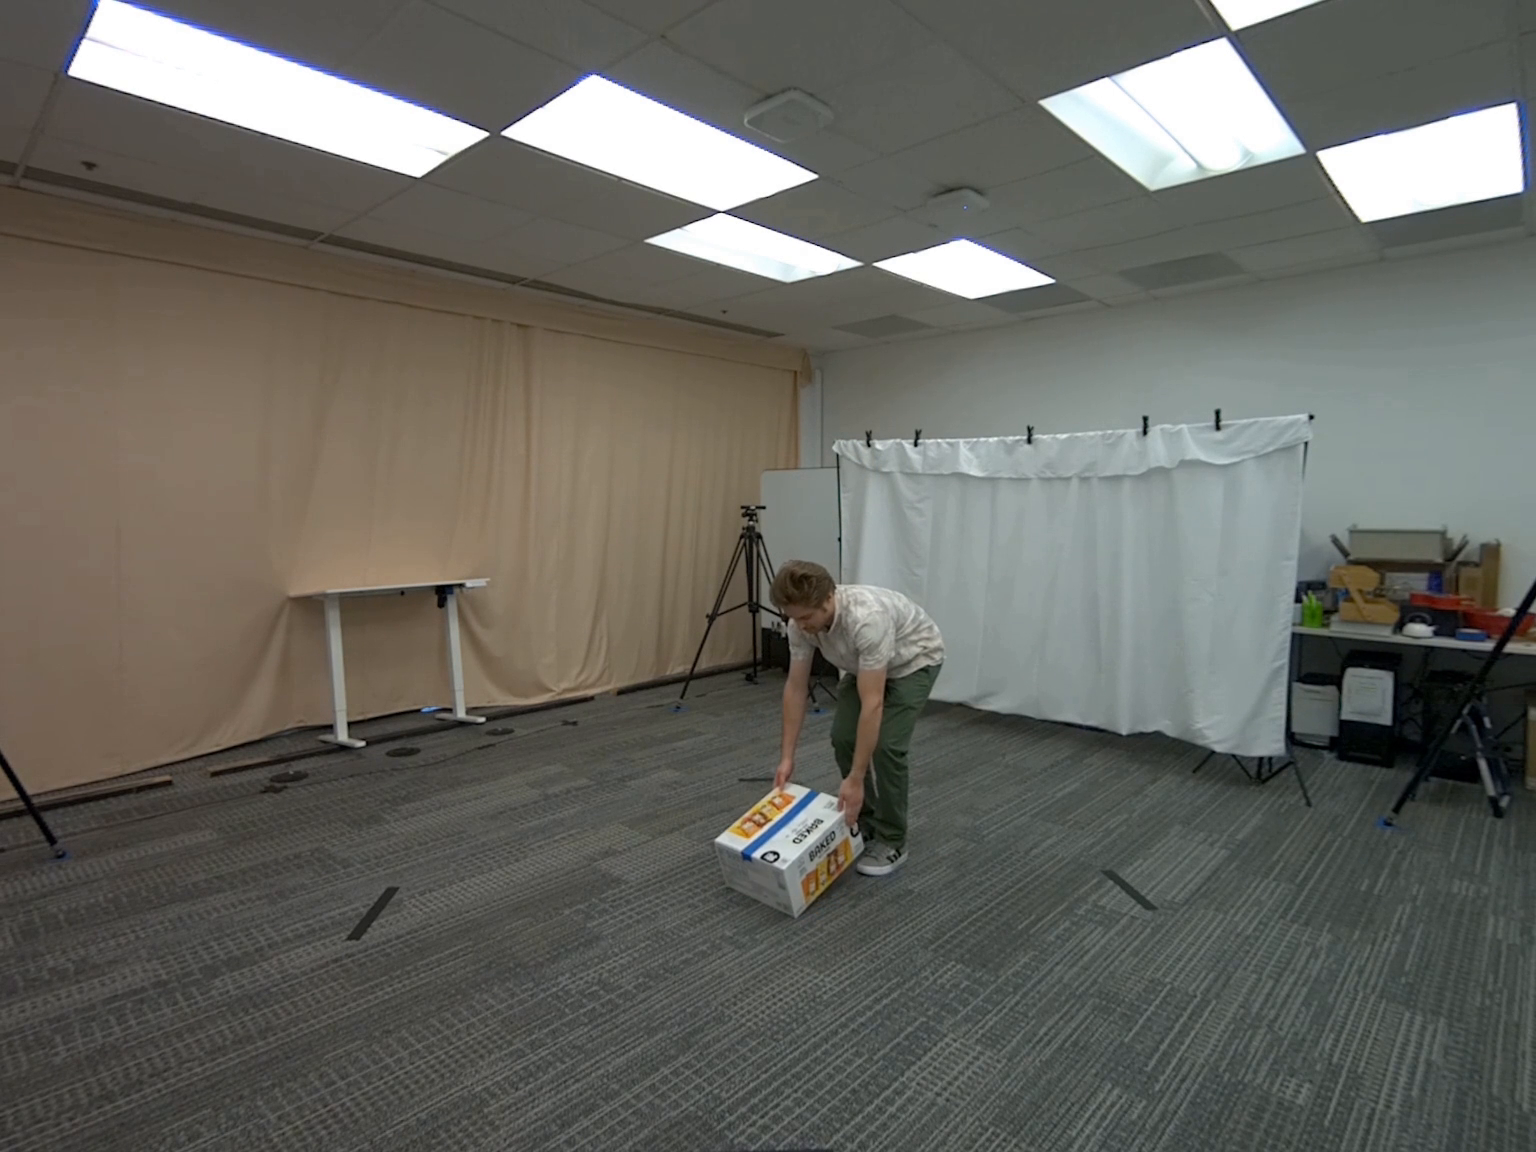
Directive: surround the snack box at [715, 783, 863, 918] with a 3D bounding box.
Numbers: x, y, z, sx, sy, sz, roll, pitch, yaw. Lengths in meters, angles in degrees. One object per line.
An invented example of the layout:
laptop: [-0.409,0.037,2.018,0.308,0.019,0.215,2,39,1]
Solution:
snack box: [0.081,0.978,3.054,0.352,0.203,0.397,3,25,45]
